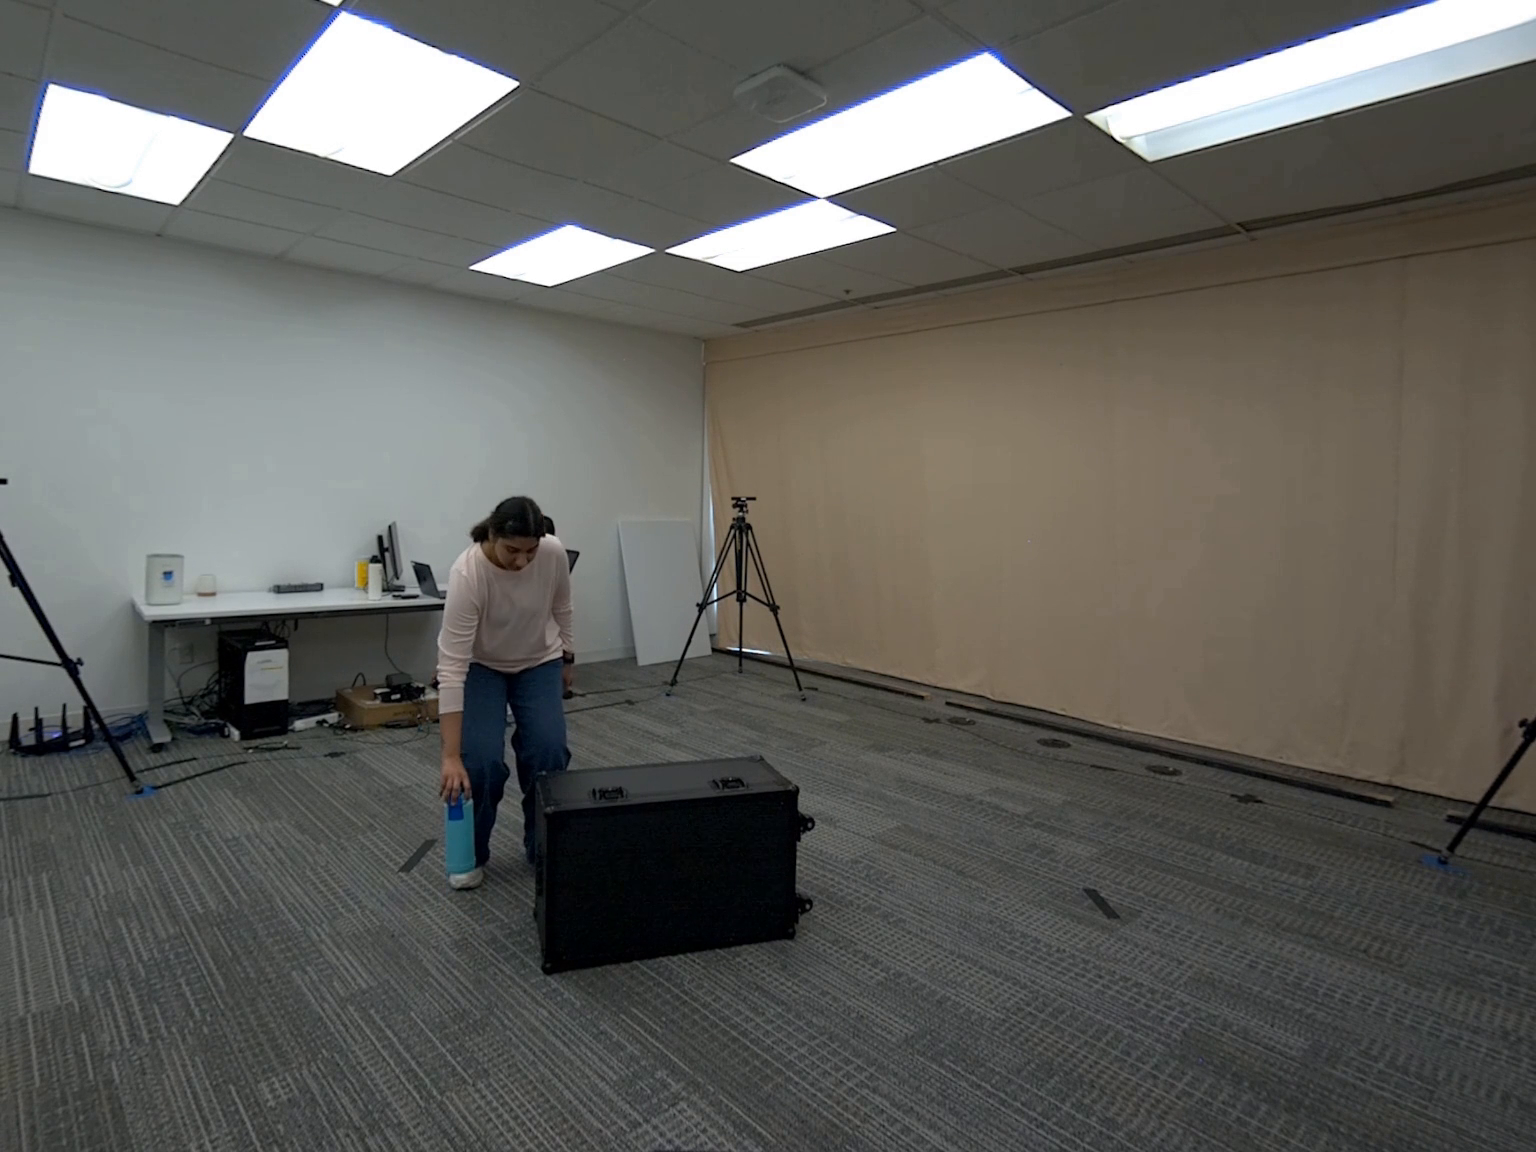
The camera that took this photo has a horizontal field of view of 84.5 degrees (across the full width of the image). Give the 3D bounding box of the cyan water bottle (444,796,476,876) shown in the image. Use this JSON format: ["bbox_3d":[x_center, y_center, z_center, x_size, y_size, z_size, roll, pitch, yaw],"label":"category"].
[{"bbox_3d":[-0.987,0.797,2.681,0.092,0.282,0.093,0,4,-1],"label":"cyan water bottle"}]
